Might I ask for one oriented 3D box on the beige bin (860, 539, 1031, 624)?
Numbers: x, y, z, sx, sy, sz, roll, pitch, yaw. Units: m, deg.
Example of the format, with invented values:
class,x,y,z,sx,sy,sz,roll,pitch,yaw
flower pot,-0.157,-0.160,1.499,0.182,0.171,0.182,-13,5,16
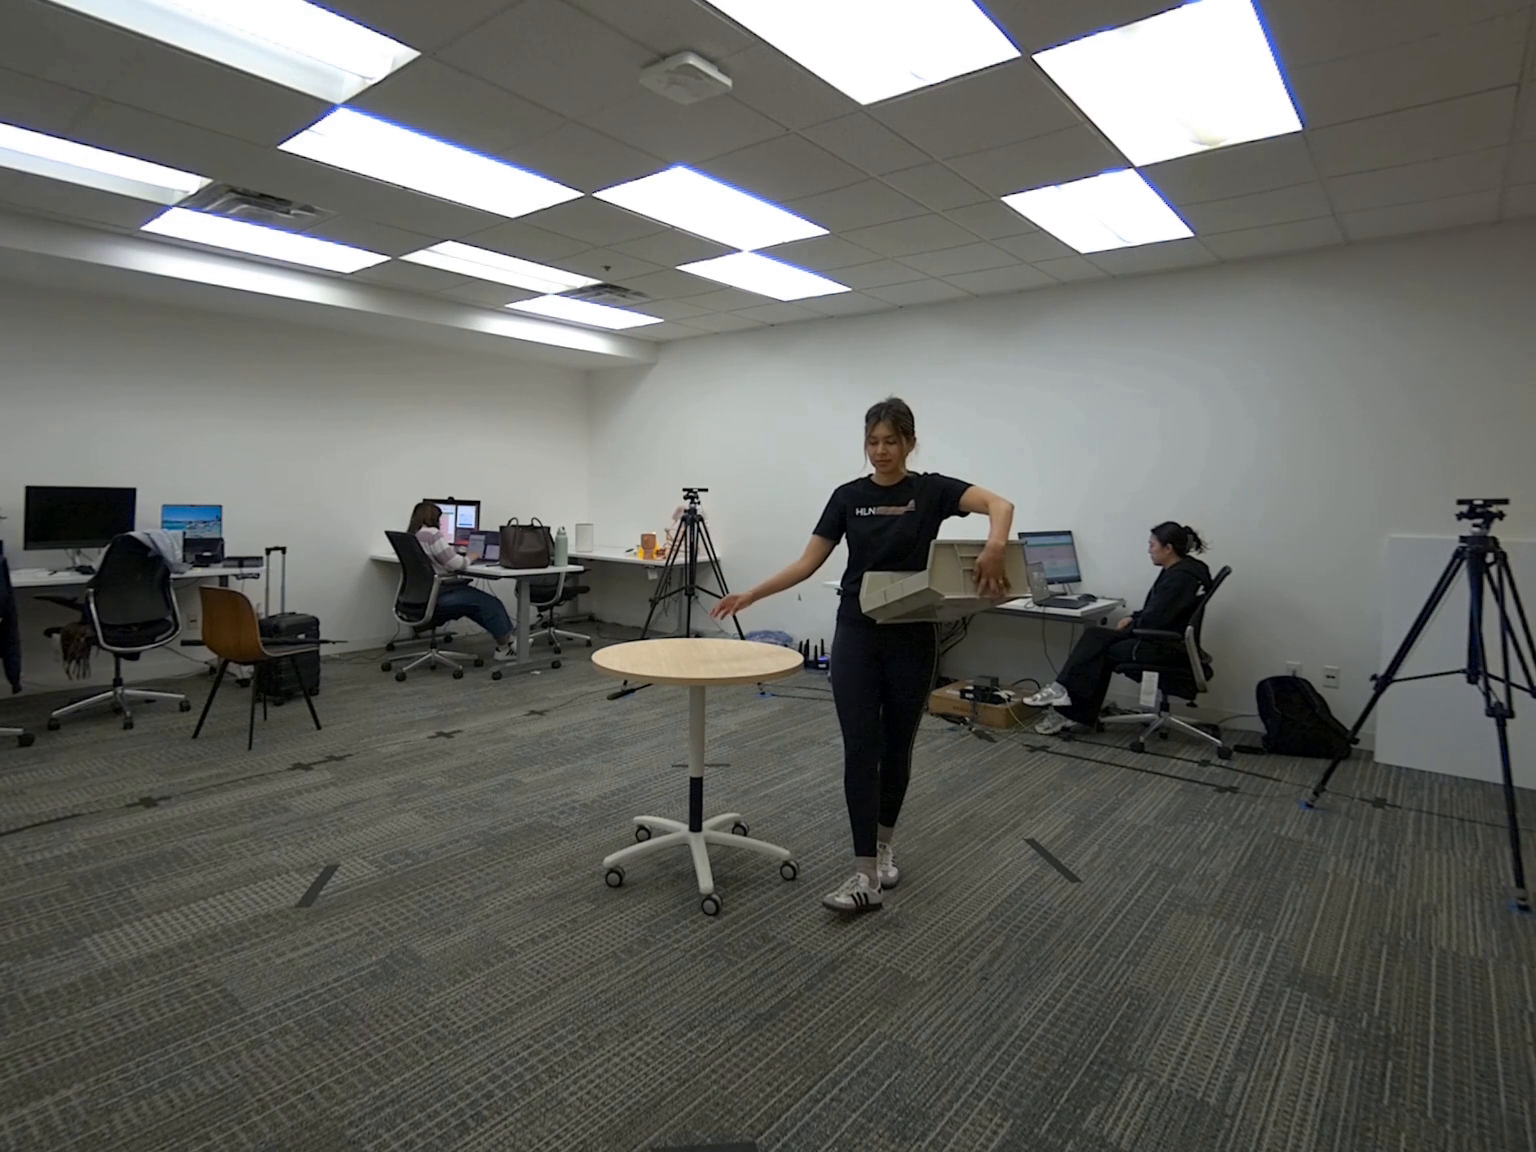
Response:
class,x,y,z,sx,sy,sz,roll,pitch,yaw
beige bin,0.545,0.020,2.736,0.370,0.192,0.424,2,-15,-19
